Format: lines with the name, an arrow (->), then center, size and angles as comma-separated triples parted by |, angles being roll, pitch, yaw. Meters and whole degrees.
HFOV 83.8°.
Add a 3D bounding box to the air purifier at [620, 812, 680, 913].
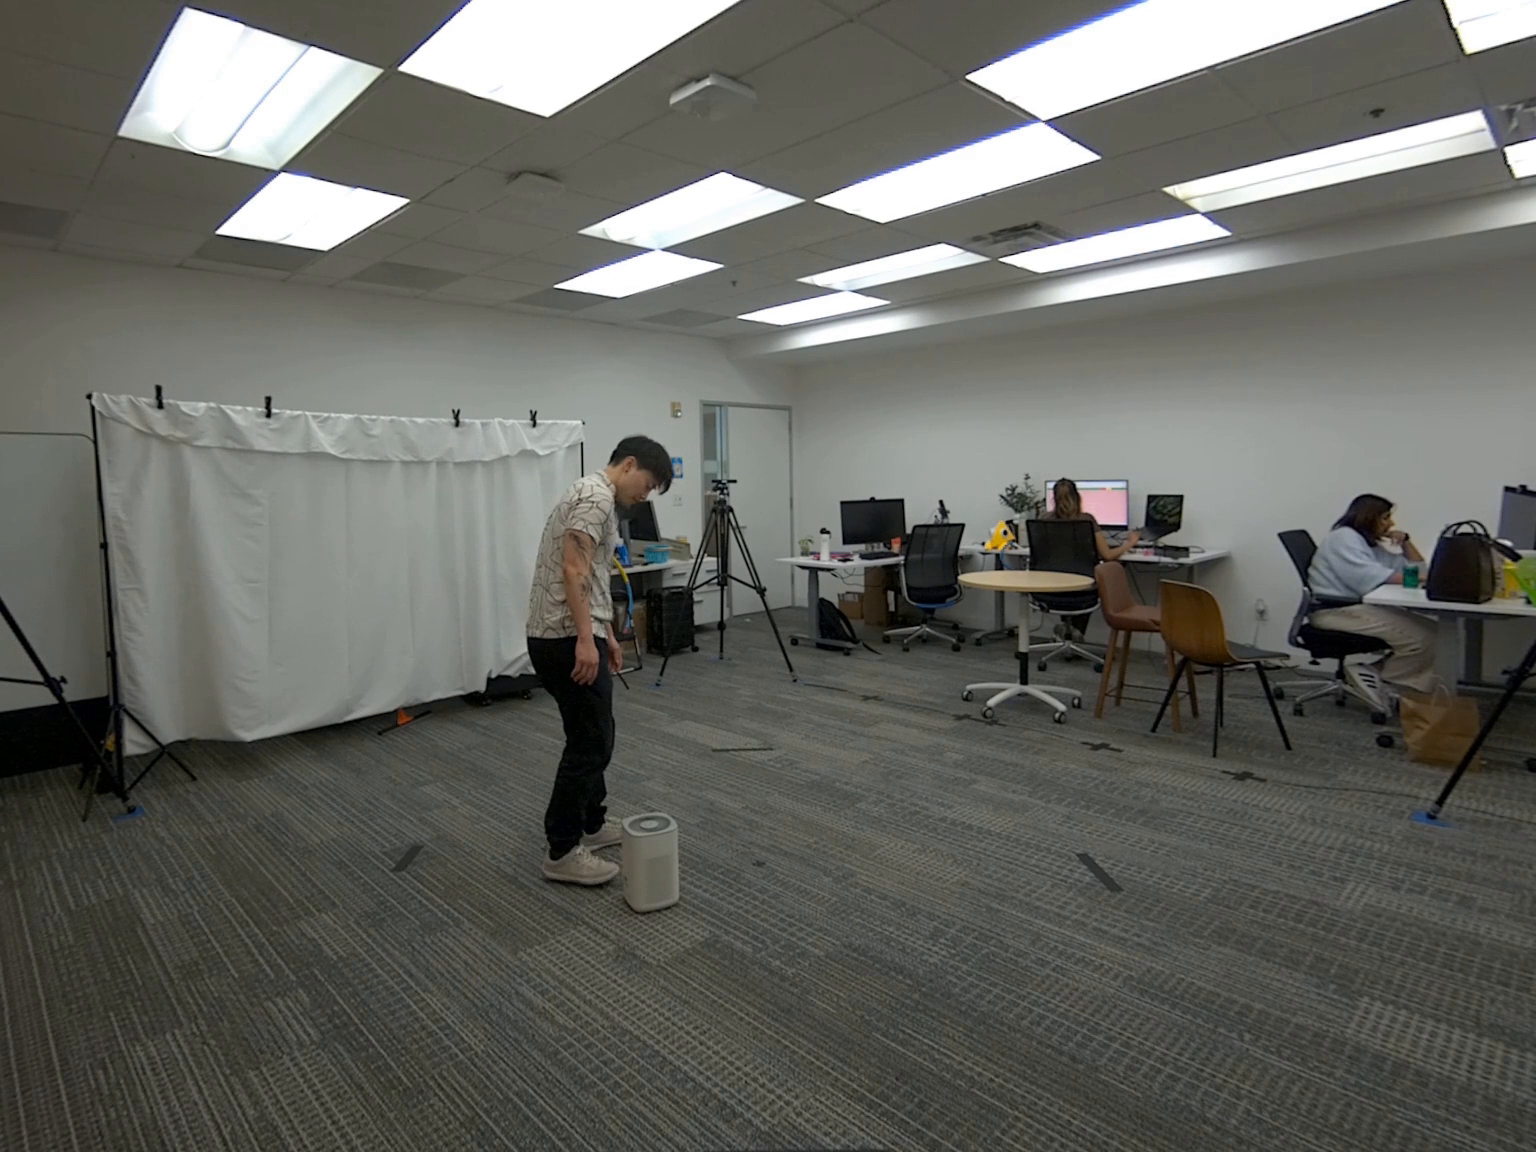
air purifier -> -0.391, 0.951, 2.837 | 0.167, 0.264, 0.176 | -3, 6, -25
